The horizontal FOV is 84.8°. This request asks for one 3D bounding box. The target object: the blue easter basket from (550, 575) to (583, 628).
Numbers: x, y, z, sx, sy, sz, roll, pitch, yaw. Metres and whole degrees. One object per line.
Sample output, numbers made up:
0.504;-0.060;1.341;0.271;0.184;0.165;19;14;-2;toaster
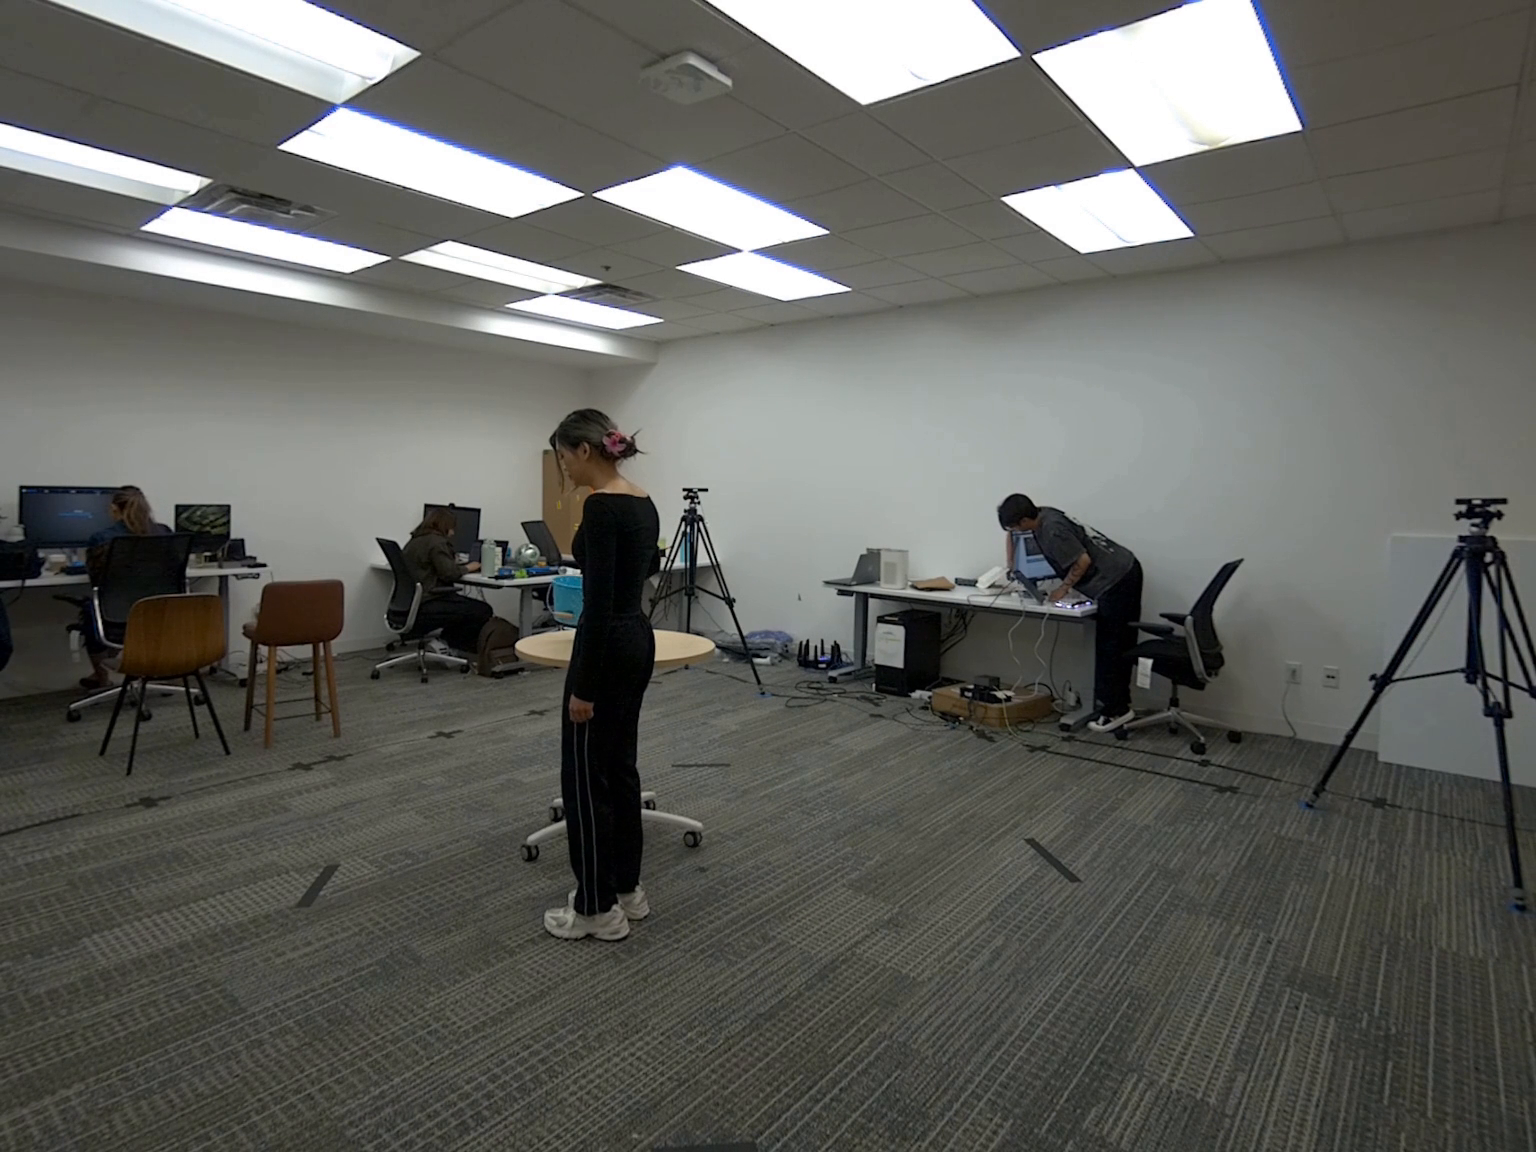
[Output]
-0.758;0.096;3.312;0.243;0.155;0.245;6;7;-3;blue easter basket
